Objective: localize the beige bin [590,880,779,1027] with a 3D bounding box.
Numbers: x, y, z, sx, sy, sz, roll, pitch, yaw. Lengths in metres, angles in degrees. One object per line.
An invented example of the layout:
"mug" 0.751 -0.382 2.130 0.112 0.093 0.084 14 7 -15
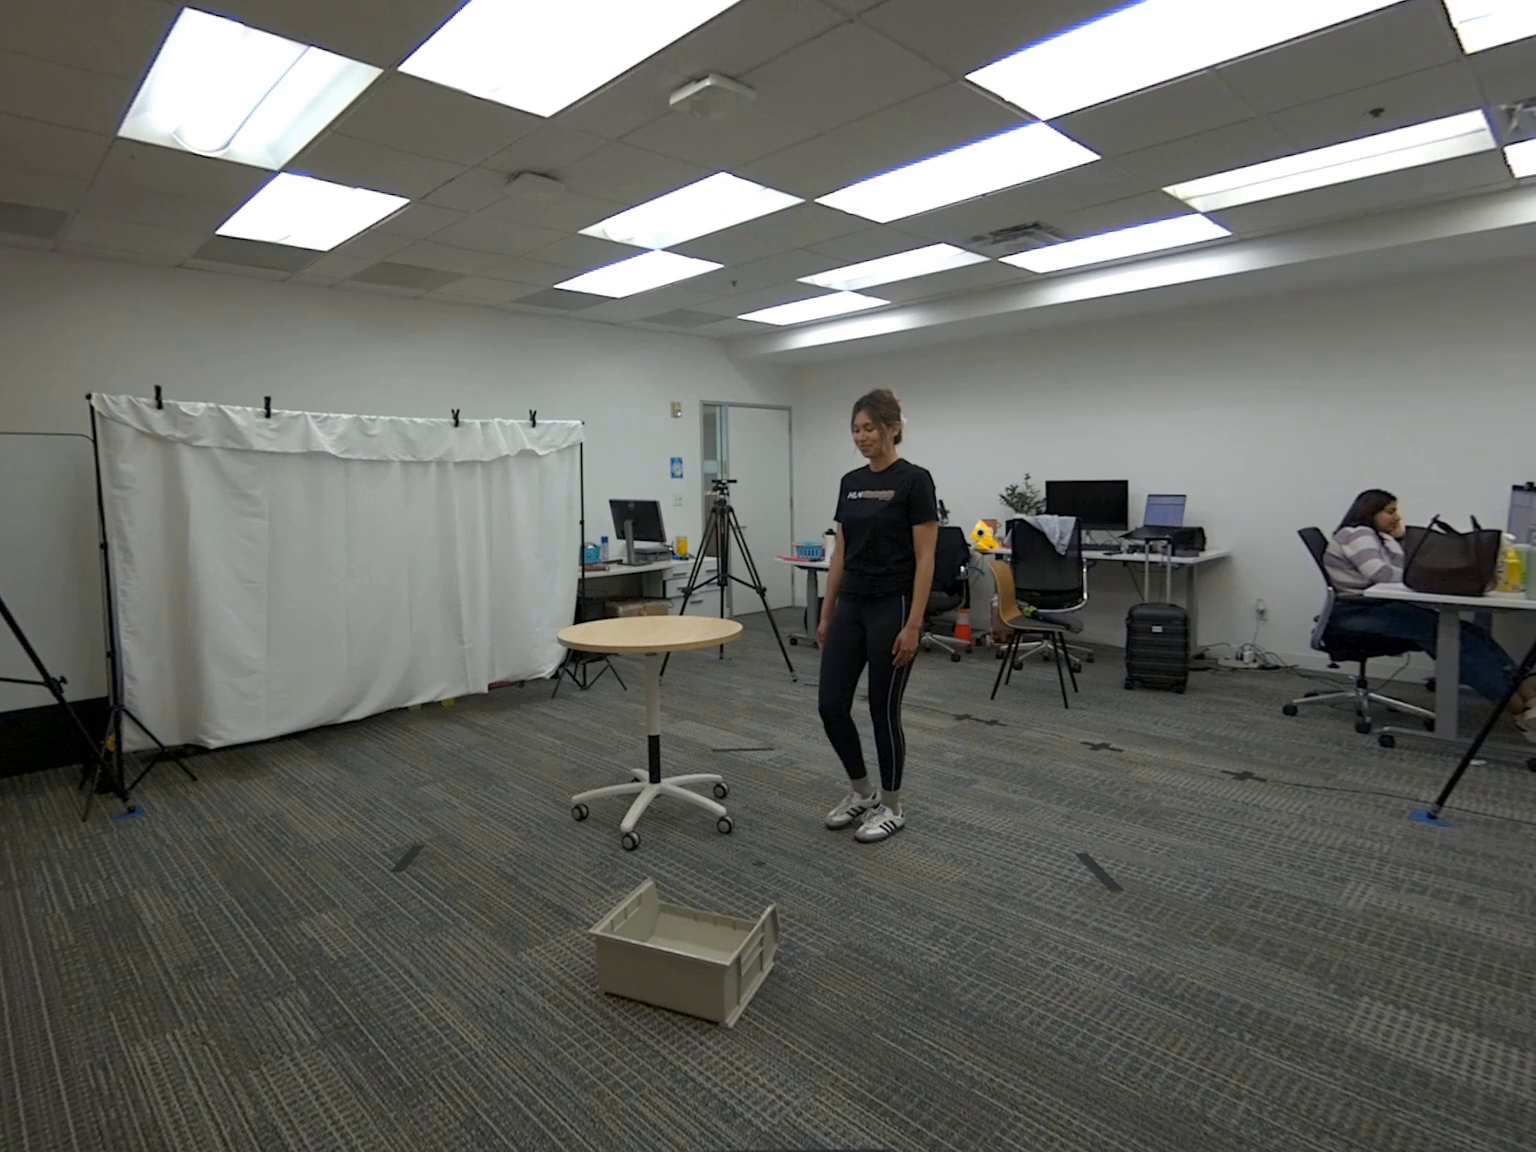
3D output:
"beige bin" -0.221 1.047 2.414 0.431 0.188 0.371 2 8 23
